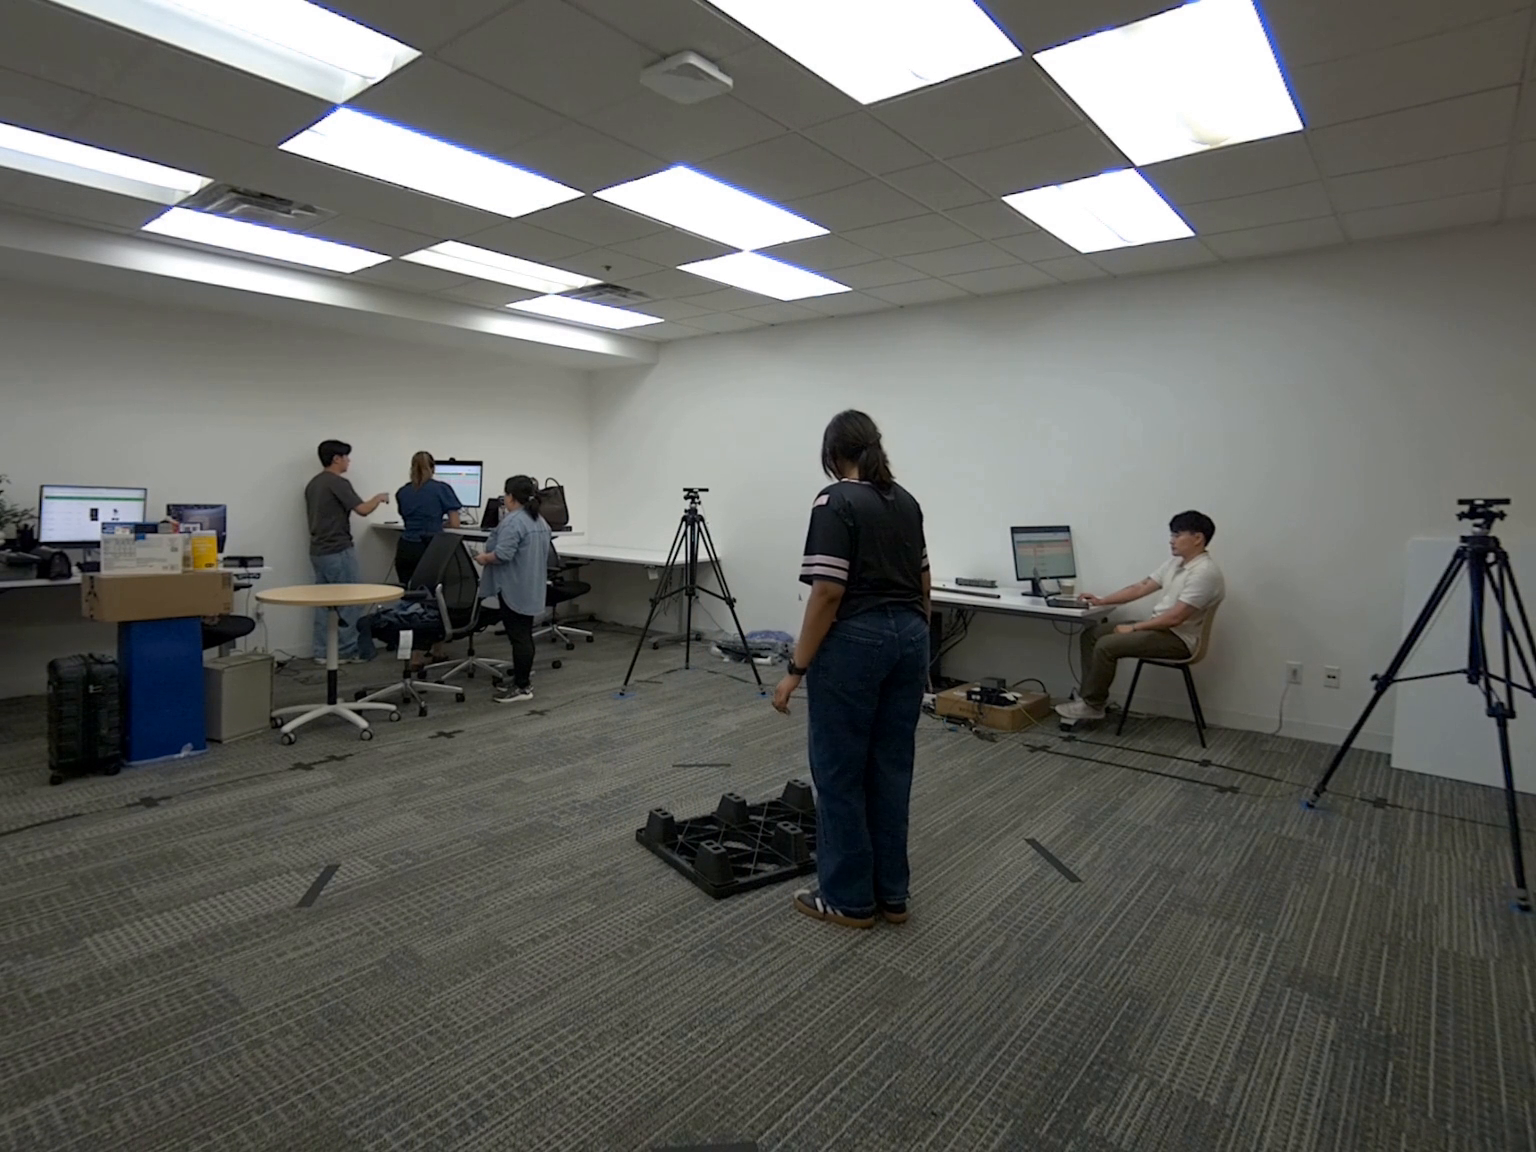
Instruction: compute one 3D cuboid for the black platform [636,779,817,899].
[{"bbox_3d":[-0.045,0.986,3.324,0.782,0.143,0.625,-3,6,-35],"label":"black platform"}]
